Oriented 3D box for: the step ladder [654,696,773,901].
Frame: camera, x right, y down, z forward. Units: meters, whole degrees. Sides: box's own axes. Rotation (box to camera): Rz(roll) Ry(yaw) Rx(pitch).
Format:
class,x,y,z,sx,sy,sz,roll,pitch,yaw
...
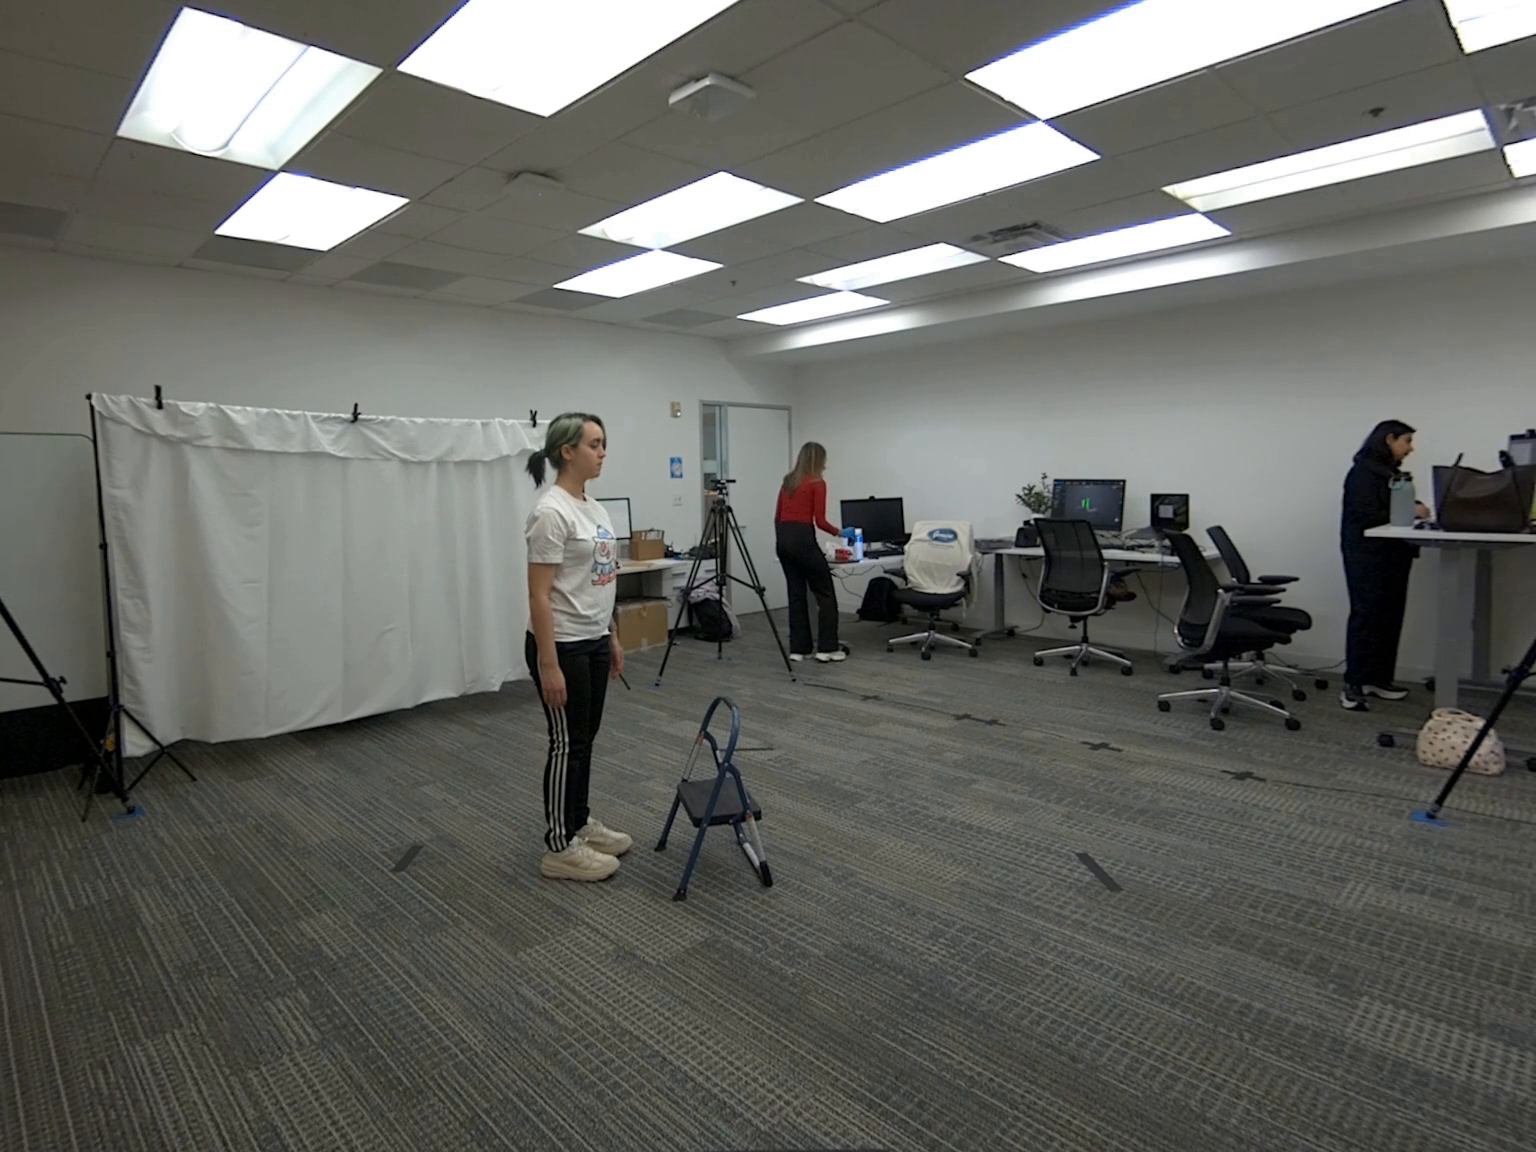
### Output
class,x,y,z,sx,sy,sz,roll,pitch,yaw
step ladder,-0.209,0.751,3.067,0.344,0.603,0.439,-2,6,-16
